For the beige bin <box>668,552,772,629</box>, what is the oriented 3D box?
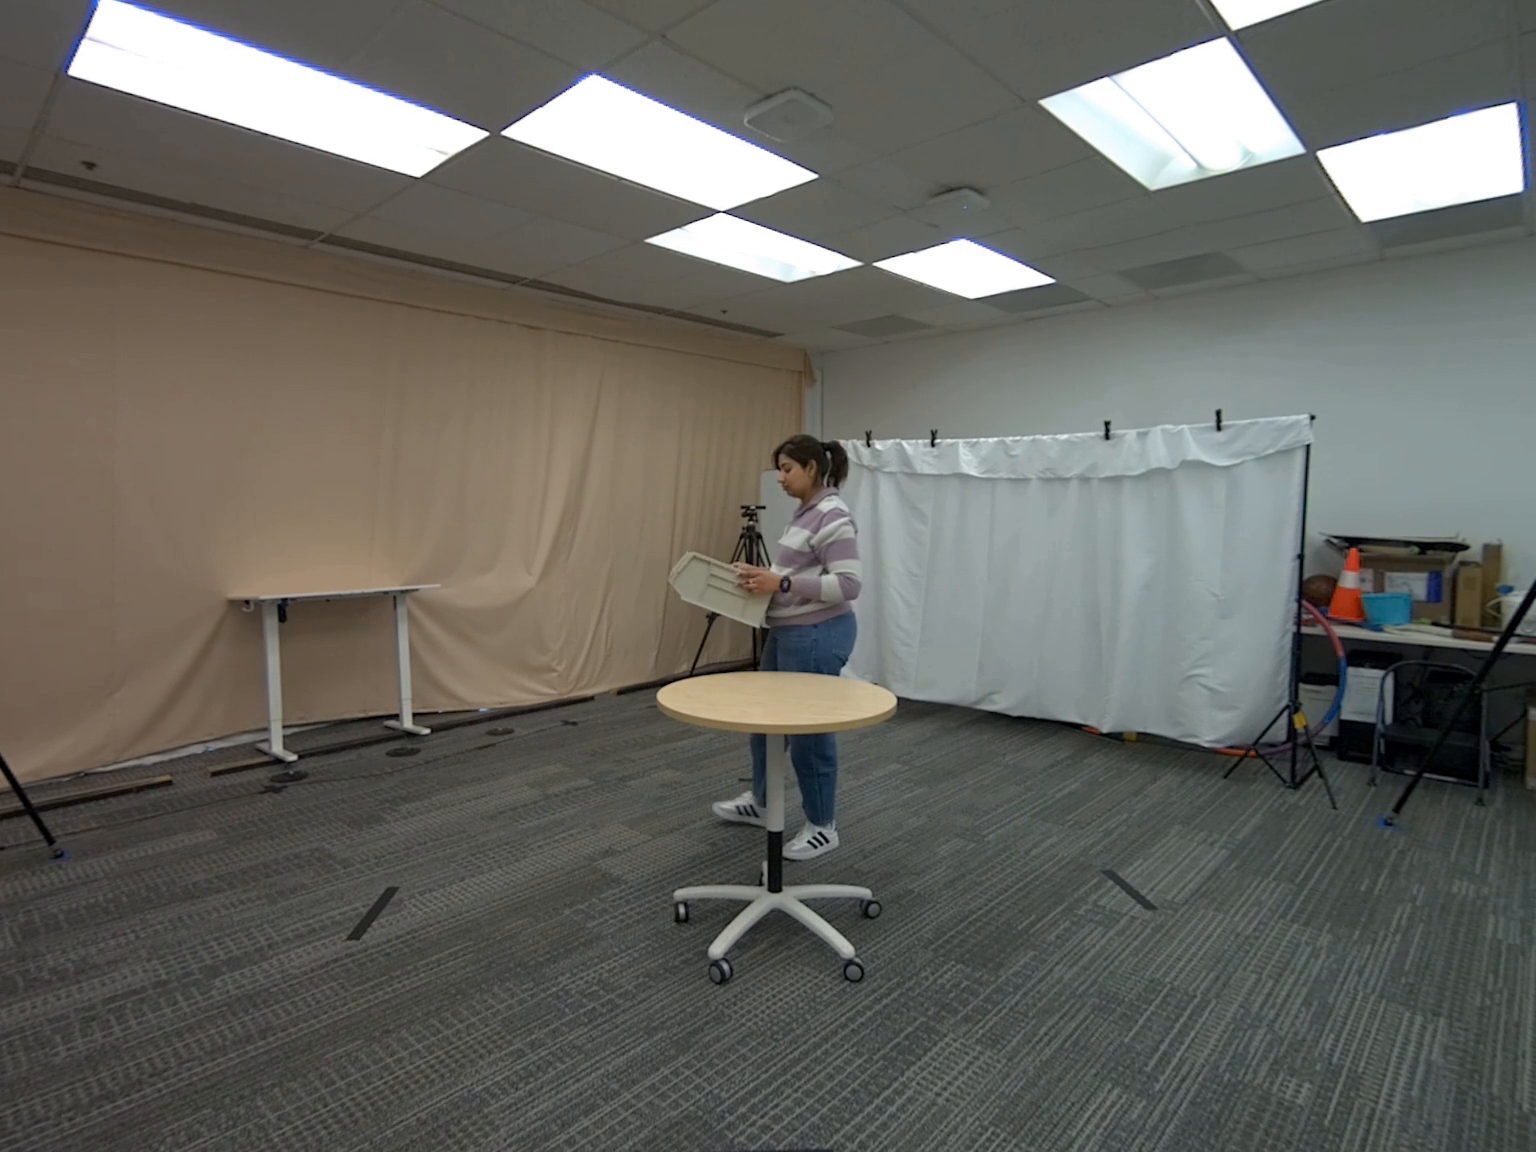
[{"bbox_3d":[-0.200,0.053,3.311,0.374,0.189,0.425,22,-3,-7],"label":"beige bin"}]
